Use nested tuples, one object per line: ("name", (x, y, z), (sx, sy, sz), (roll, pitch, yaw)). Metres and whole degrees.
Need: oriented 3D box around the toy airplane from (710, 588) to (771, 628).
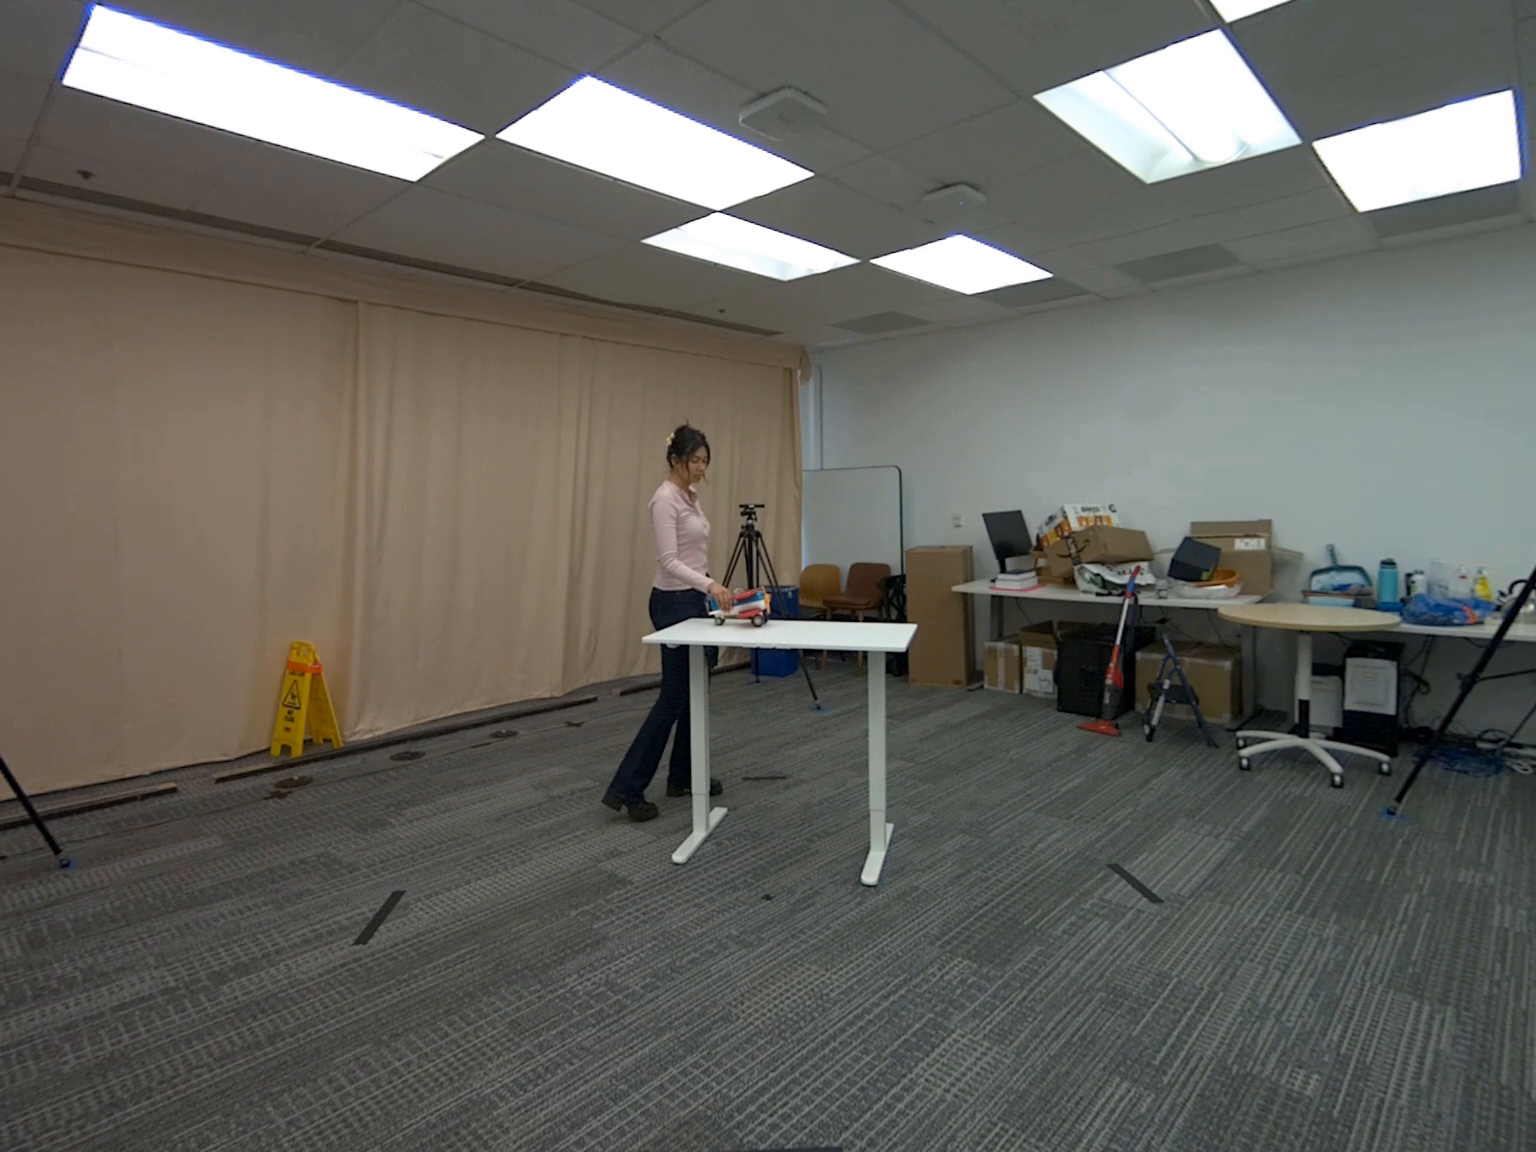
("toy airplane", (-0.117, 0.135, 3.558), (0.255, 0.156, 0.256), (-1, 3, -18))
